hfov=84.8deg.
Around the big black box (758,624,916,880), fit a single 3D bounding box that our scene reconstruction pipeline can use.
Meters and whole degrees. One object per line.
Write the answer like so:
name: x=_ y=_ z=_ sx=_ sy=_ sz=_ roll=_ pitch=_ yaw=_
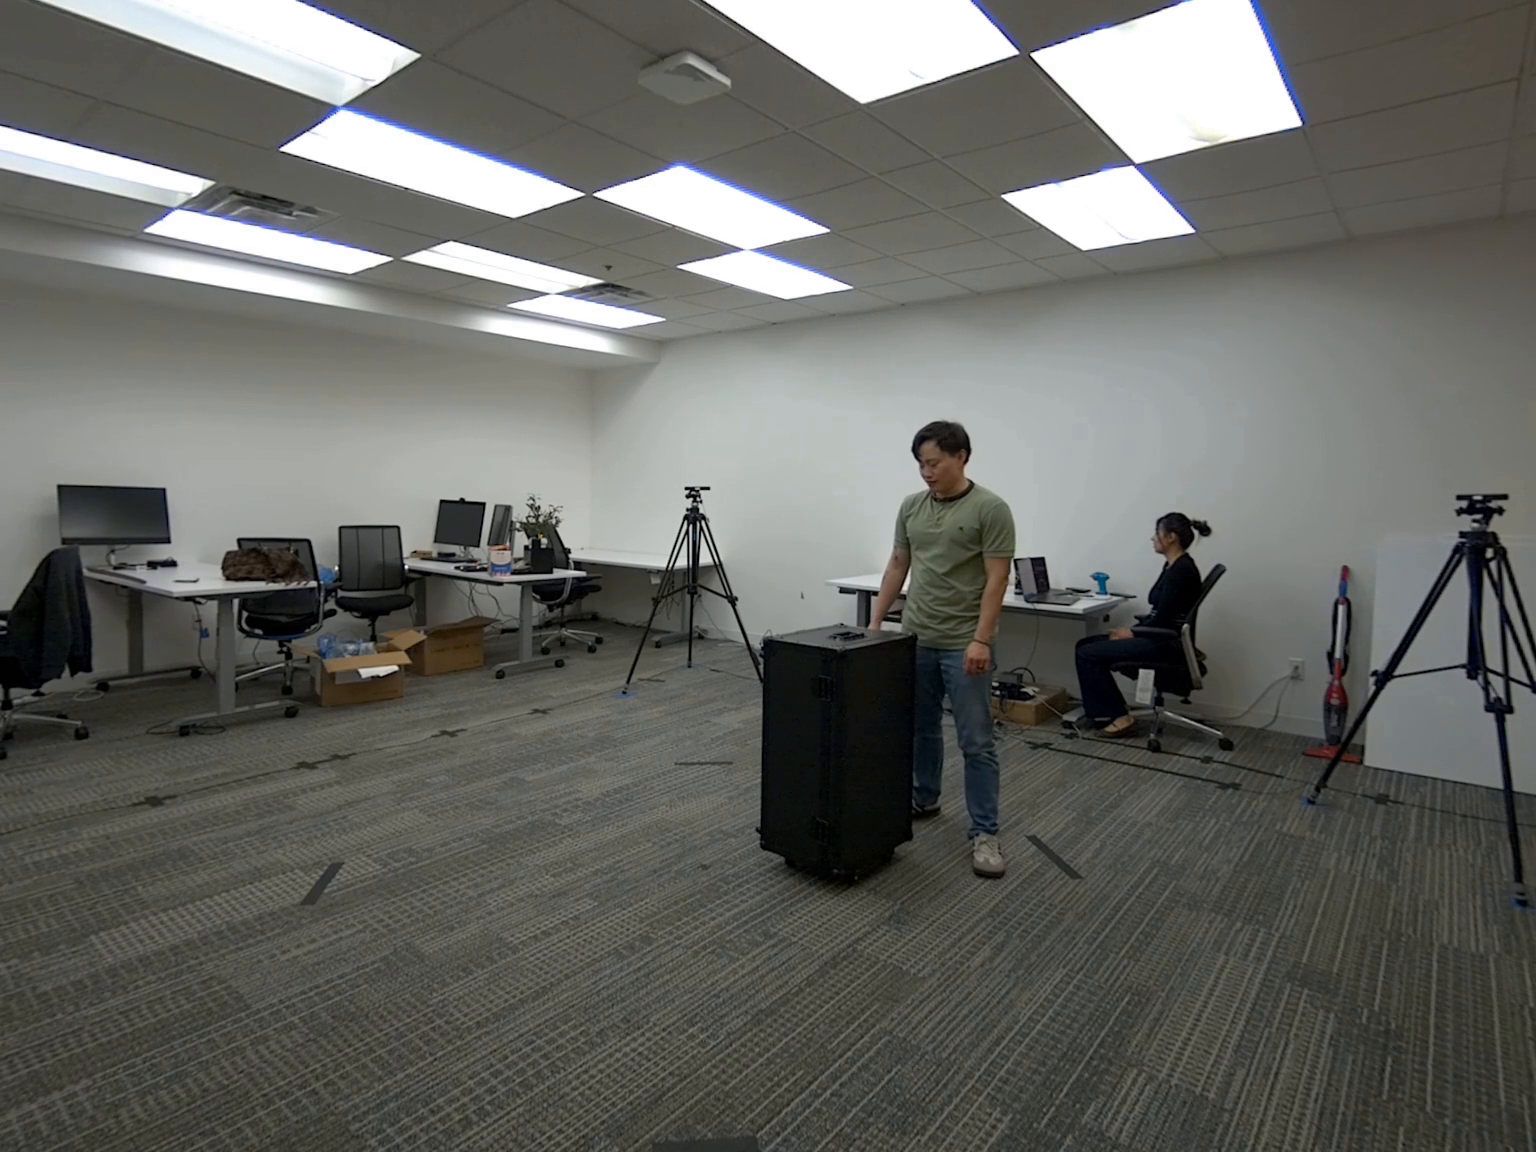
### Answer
big black box: x=0.244 y=0.641 z=3.161 sx=0.409 sy=0.860 sz=0.505 roll=2 pitch=3 yaw=41
